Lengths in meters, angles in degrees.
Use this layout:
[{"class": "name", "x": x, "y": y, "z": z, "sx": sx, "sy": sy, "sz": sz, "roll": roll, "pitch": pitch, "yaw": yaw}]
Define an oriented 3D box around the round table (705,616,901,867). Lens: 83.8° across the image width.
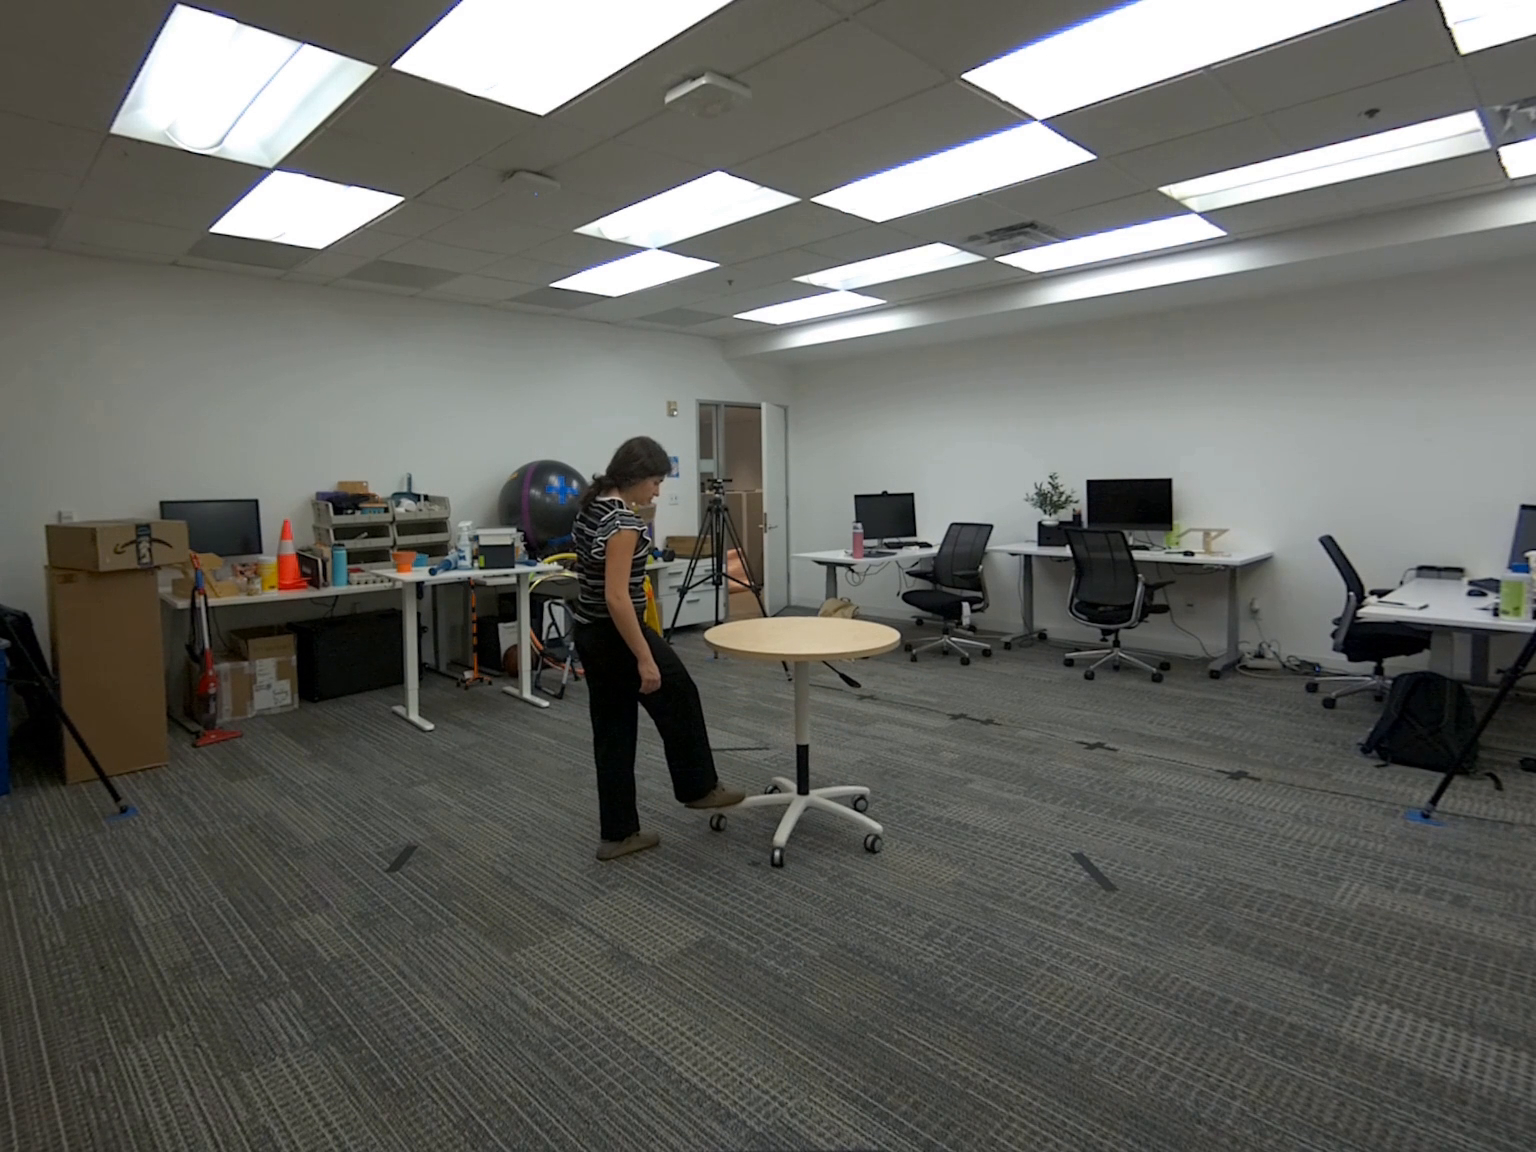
[{"class": "round table", "x": 0.129, "y": 0.614, "z": 3.402, "sx": 0.784, "sy": 0.783, "sz": 0.789, "roll": -1, "pitch": 5, "yaw": -2}]
